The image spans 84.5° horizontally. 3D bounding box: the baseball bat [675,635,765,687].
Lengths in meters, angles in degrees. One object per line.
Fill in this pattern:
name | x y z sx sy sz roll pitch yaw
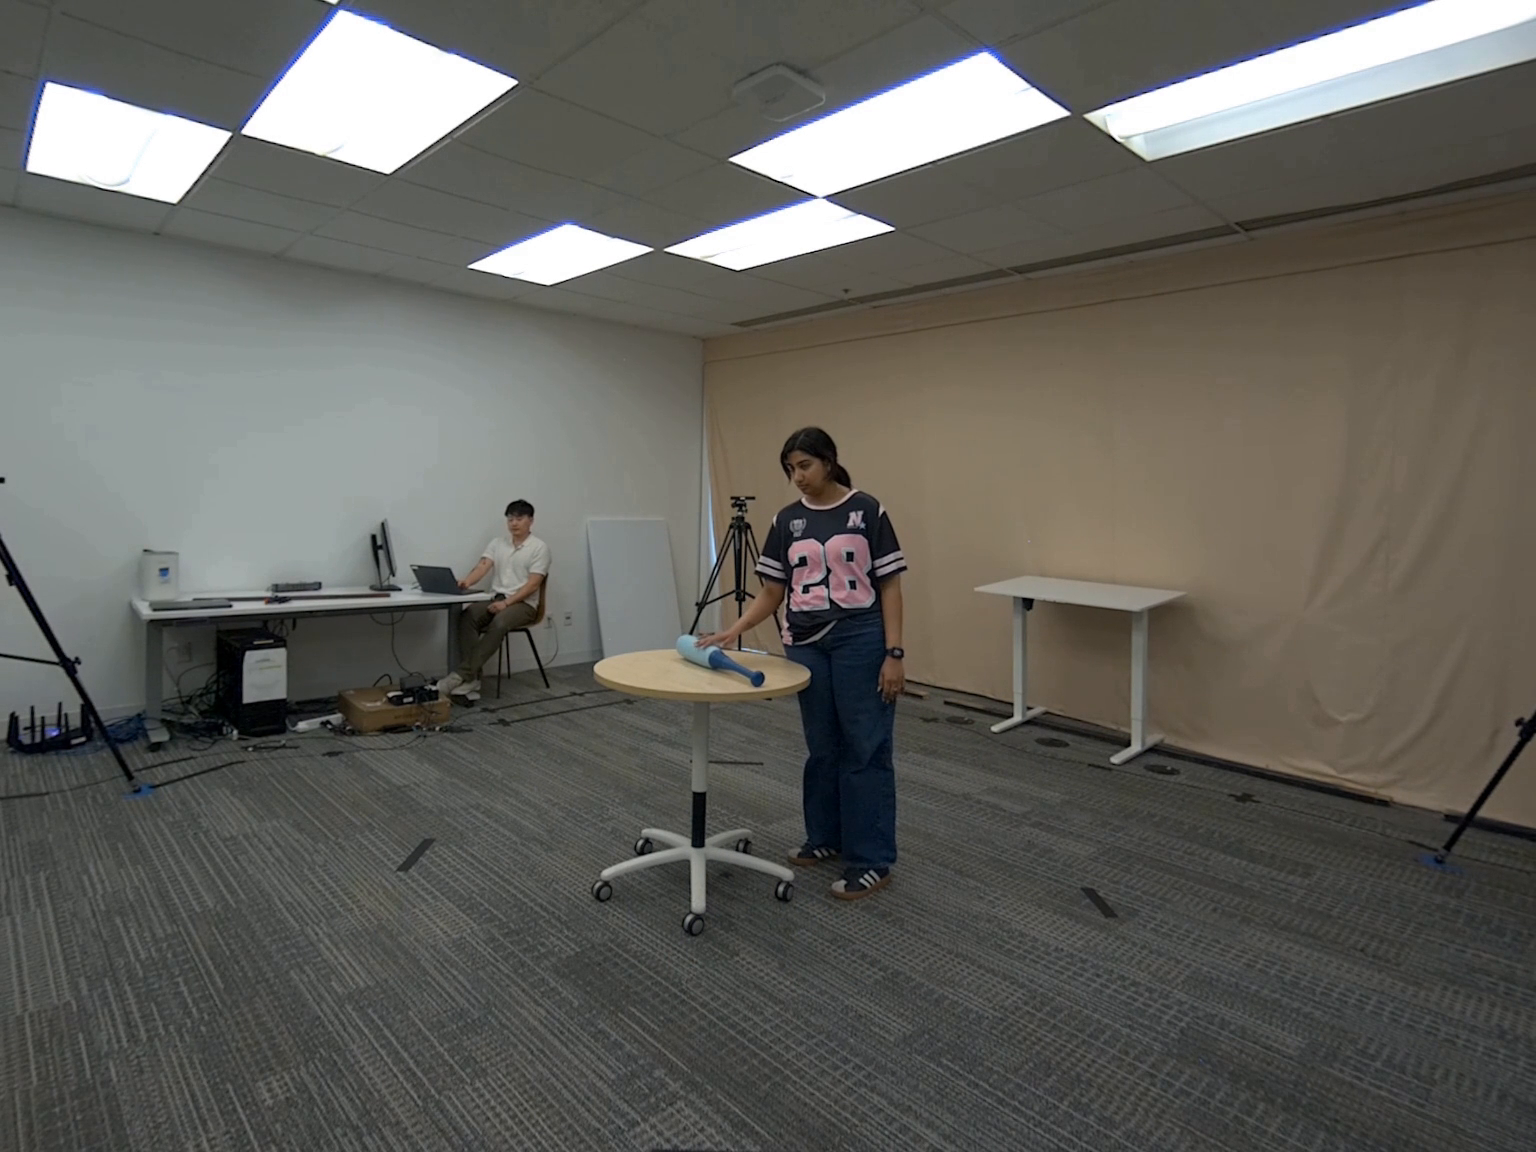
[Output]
baseball bat | -0.176 0.300 2.938 0.087 0.089 0.556 -1 8 -31
